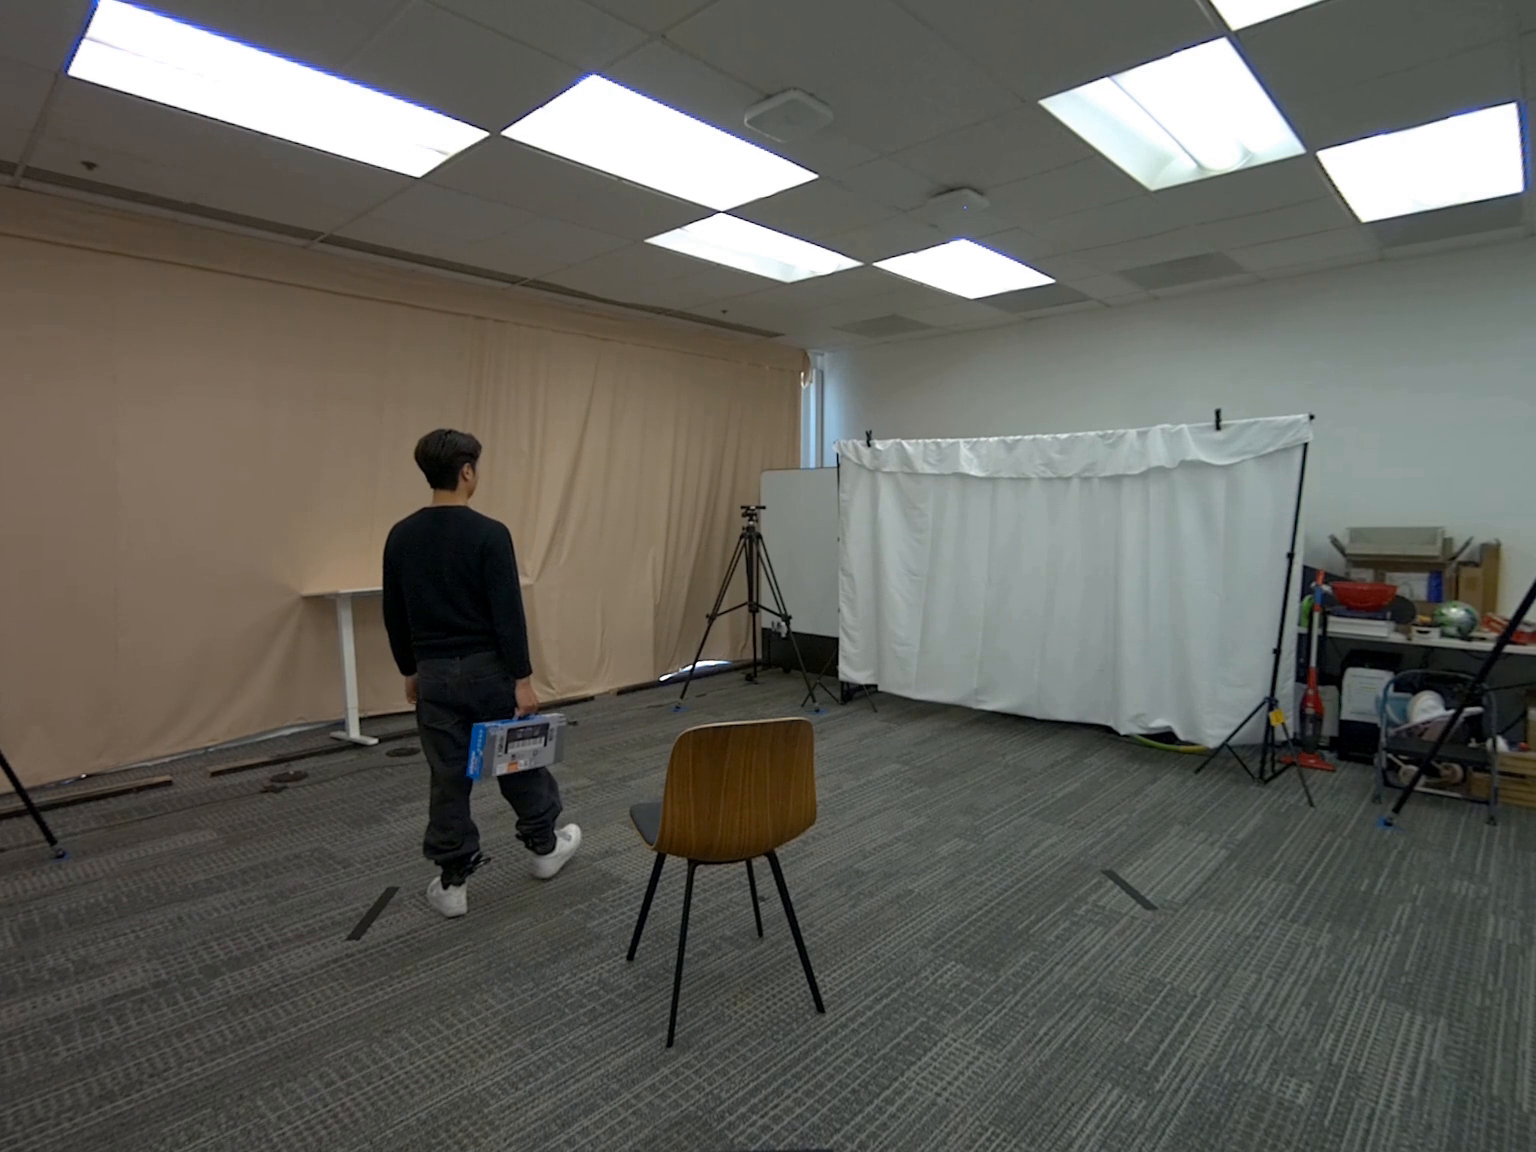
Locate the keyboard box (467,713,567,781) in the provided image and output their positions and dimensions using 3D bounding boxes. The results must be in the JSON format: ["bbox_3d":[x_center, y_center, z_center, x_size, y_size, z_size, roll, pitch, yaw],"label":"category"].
[{"bbox_3d":[-0.847,0.582,2.905,0.060,0.176,0.425,5,-2,23],"label":"keyboard box"}]
